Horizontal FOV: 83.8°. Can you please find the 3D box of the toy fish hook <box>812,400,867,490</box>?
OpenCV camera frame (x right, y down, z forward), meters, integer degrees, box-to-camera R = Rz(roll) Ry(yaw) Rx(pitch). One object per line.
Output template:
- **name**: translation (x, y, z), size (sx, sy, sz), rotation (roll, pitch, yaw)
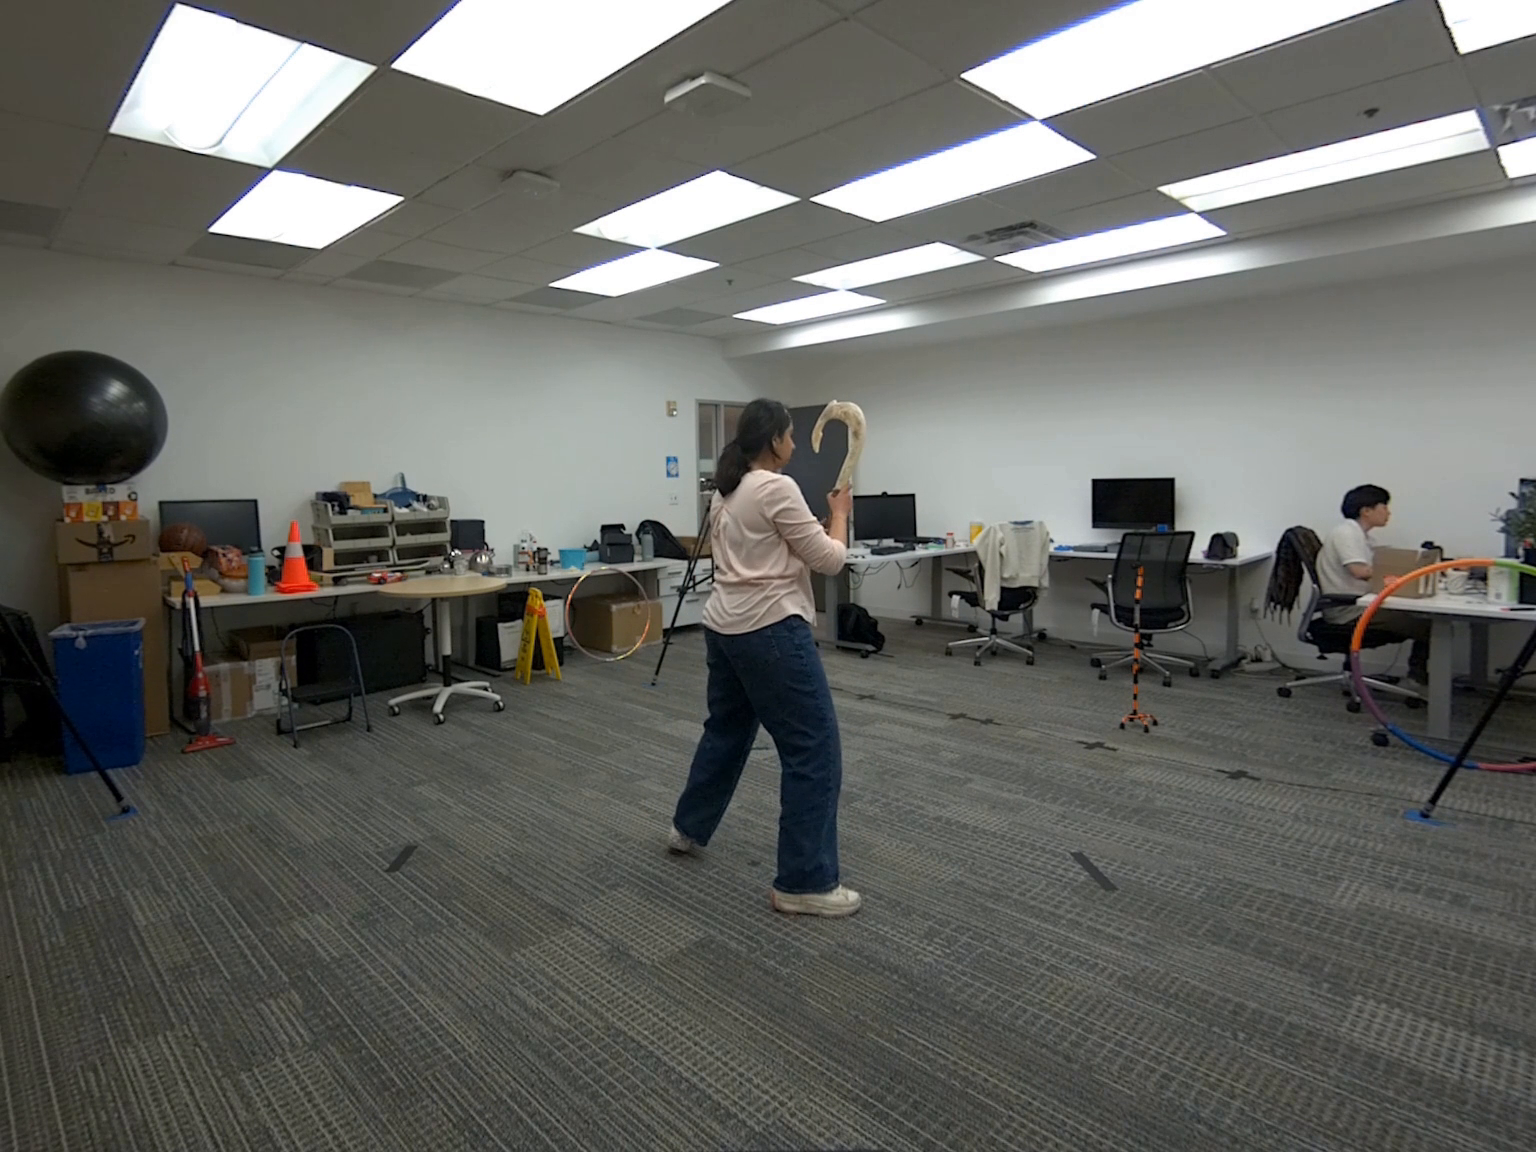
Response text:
- **toy fish hook**: translation (0.235, -0.377, 3.080), size (0.047, 0.503, 0.233), rotation (1, 11, -44)
